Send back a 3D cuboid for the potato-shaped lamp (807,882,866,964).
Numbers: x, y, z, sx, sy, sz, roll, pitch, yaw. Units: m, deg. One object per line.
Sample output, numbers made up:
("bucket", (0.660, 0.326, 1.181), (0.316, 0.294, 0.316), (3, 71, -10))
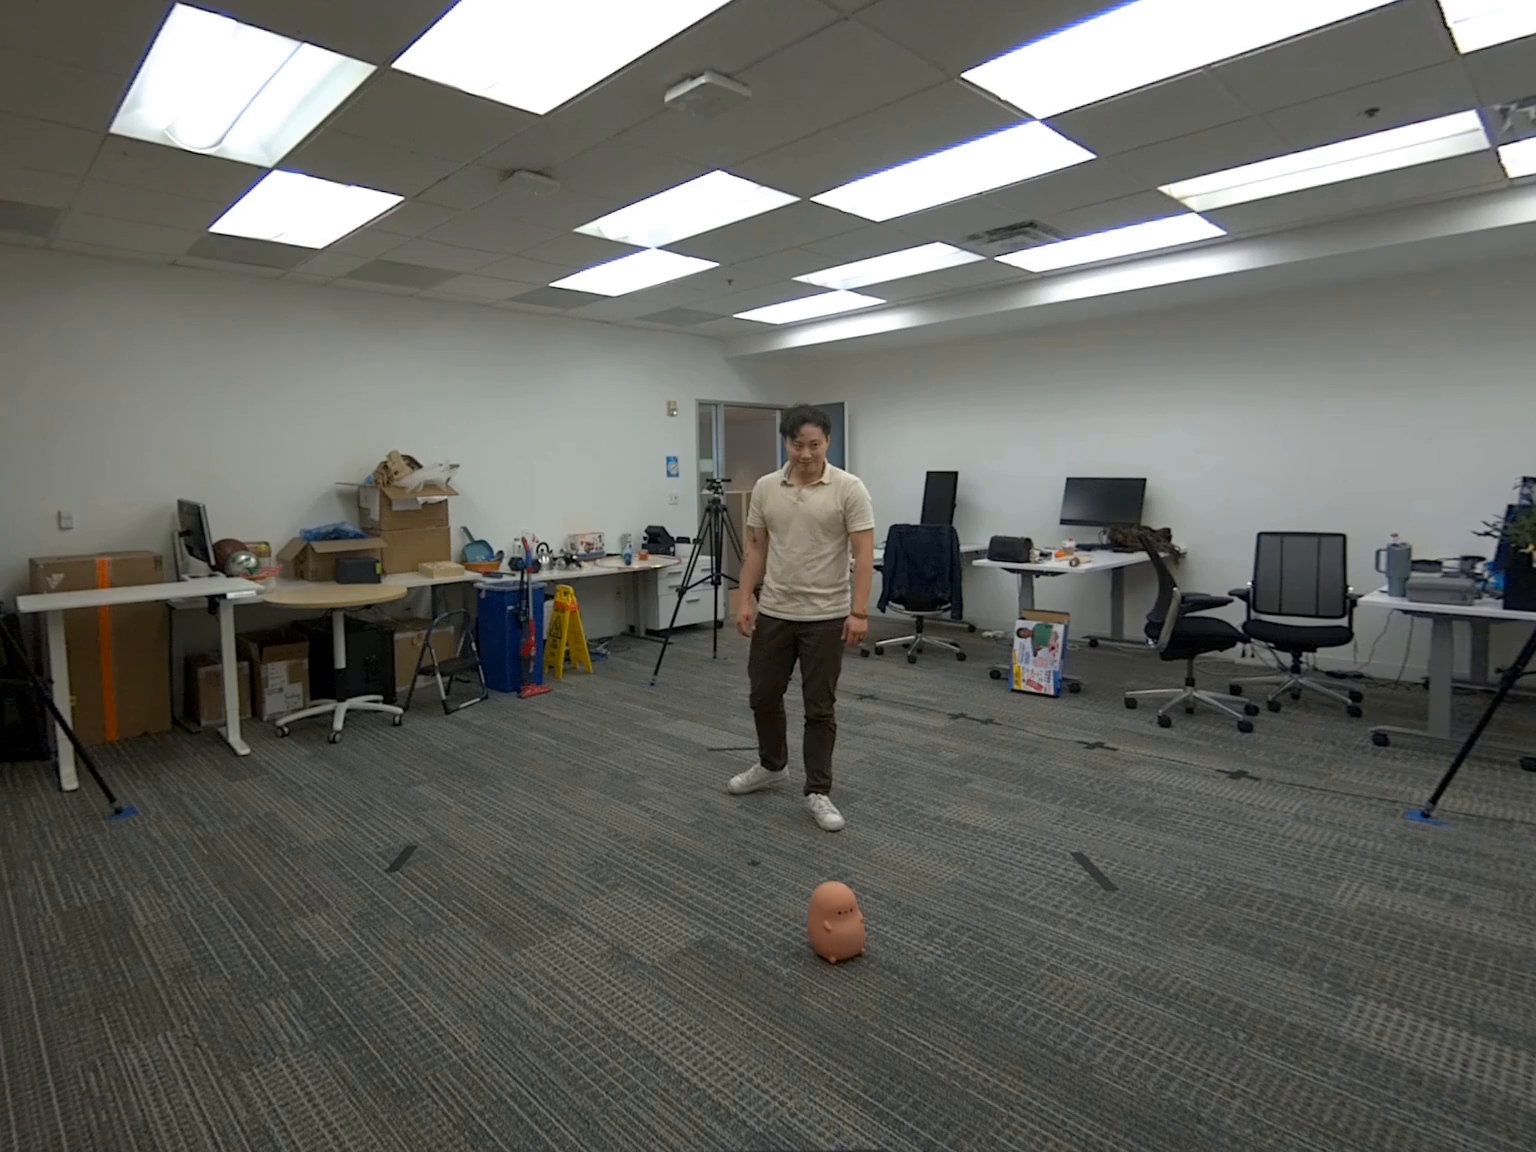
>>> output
("potato-shaped lamp", (0.204, 1.011, 2.524), (0.161, 0.197, 0.176), (-5, 6, -27))
